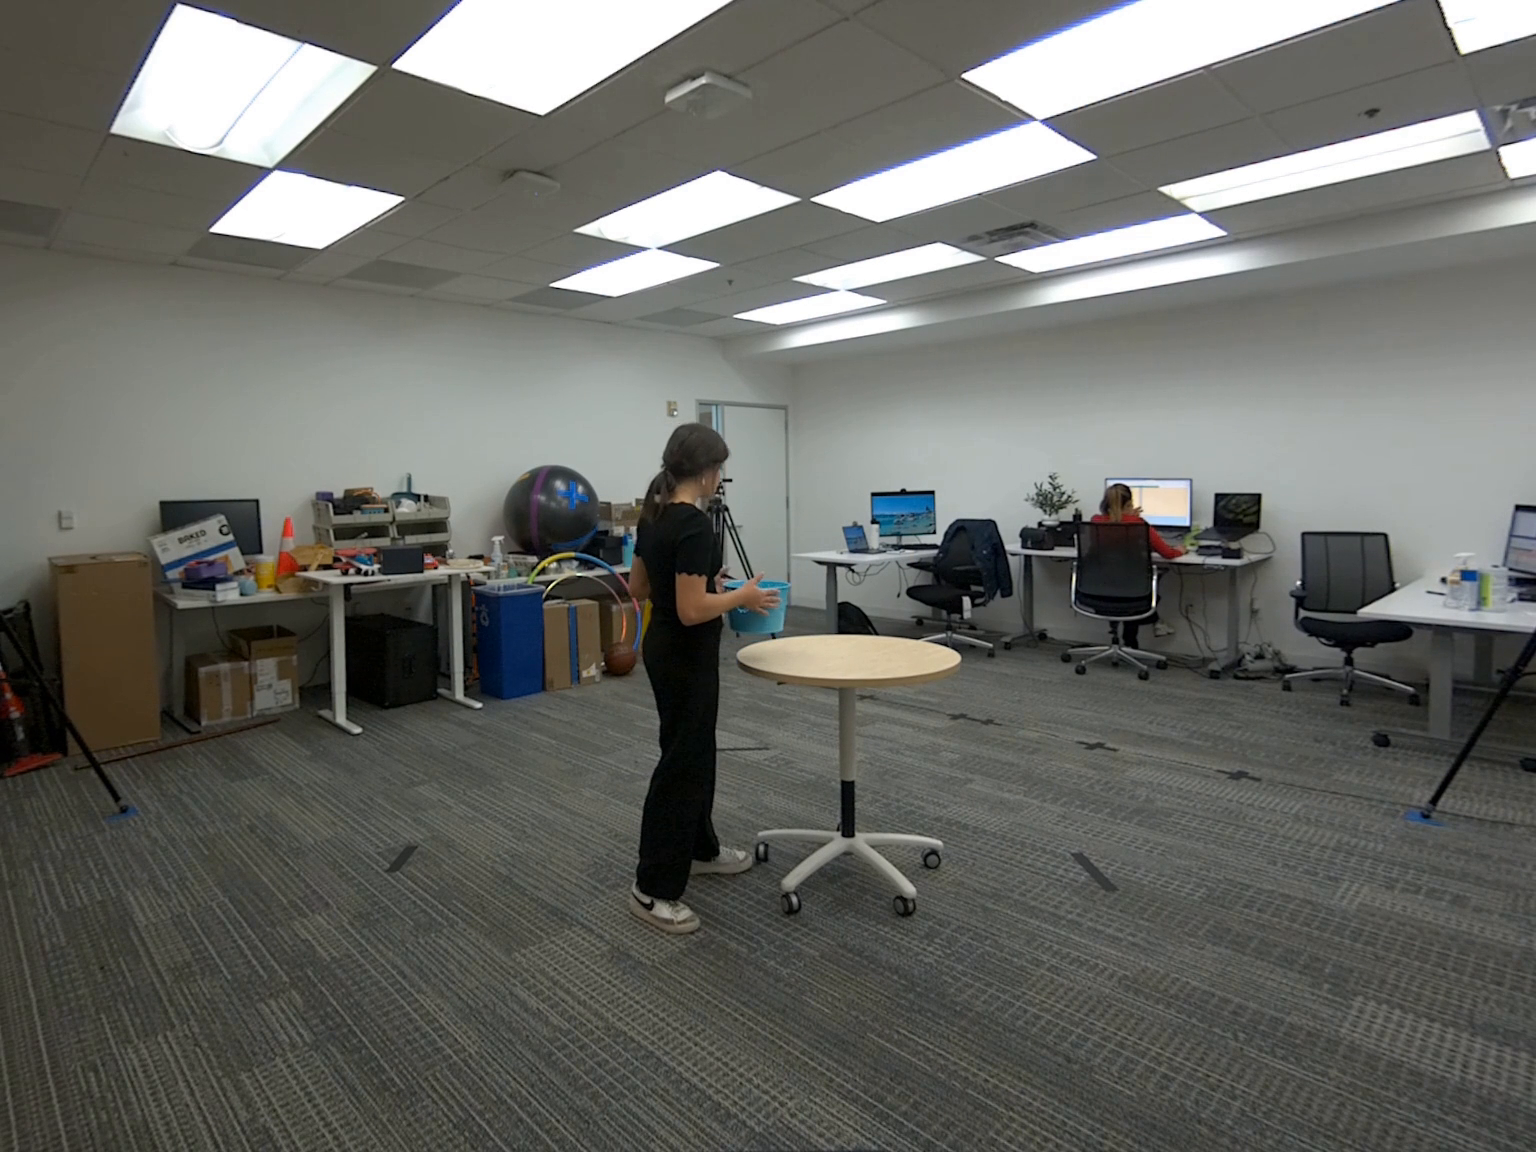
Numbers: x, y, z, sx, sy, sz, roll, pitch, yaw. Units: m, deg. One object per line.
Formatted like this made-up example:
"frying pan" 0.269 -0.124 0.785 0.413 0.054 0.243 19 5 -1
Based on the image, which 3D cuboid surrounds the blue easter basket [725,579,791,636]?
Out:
"blue easter basket" -0.043 0.103 2.943 0.243 0.155 0.245 1 6 -2
